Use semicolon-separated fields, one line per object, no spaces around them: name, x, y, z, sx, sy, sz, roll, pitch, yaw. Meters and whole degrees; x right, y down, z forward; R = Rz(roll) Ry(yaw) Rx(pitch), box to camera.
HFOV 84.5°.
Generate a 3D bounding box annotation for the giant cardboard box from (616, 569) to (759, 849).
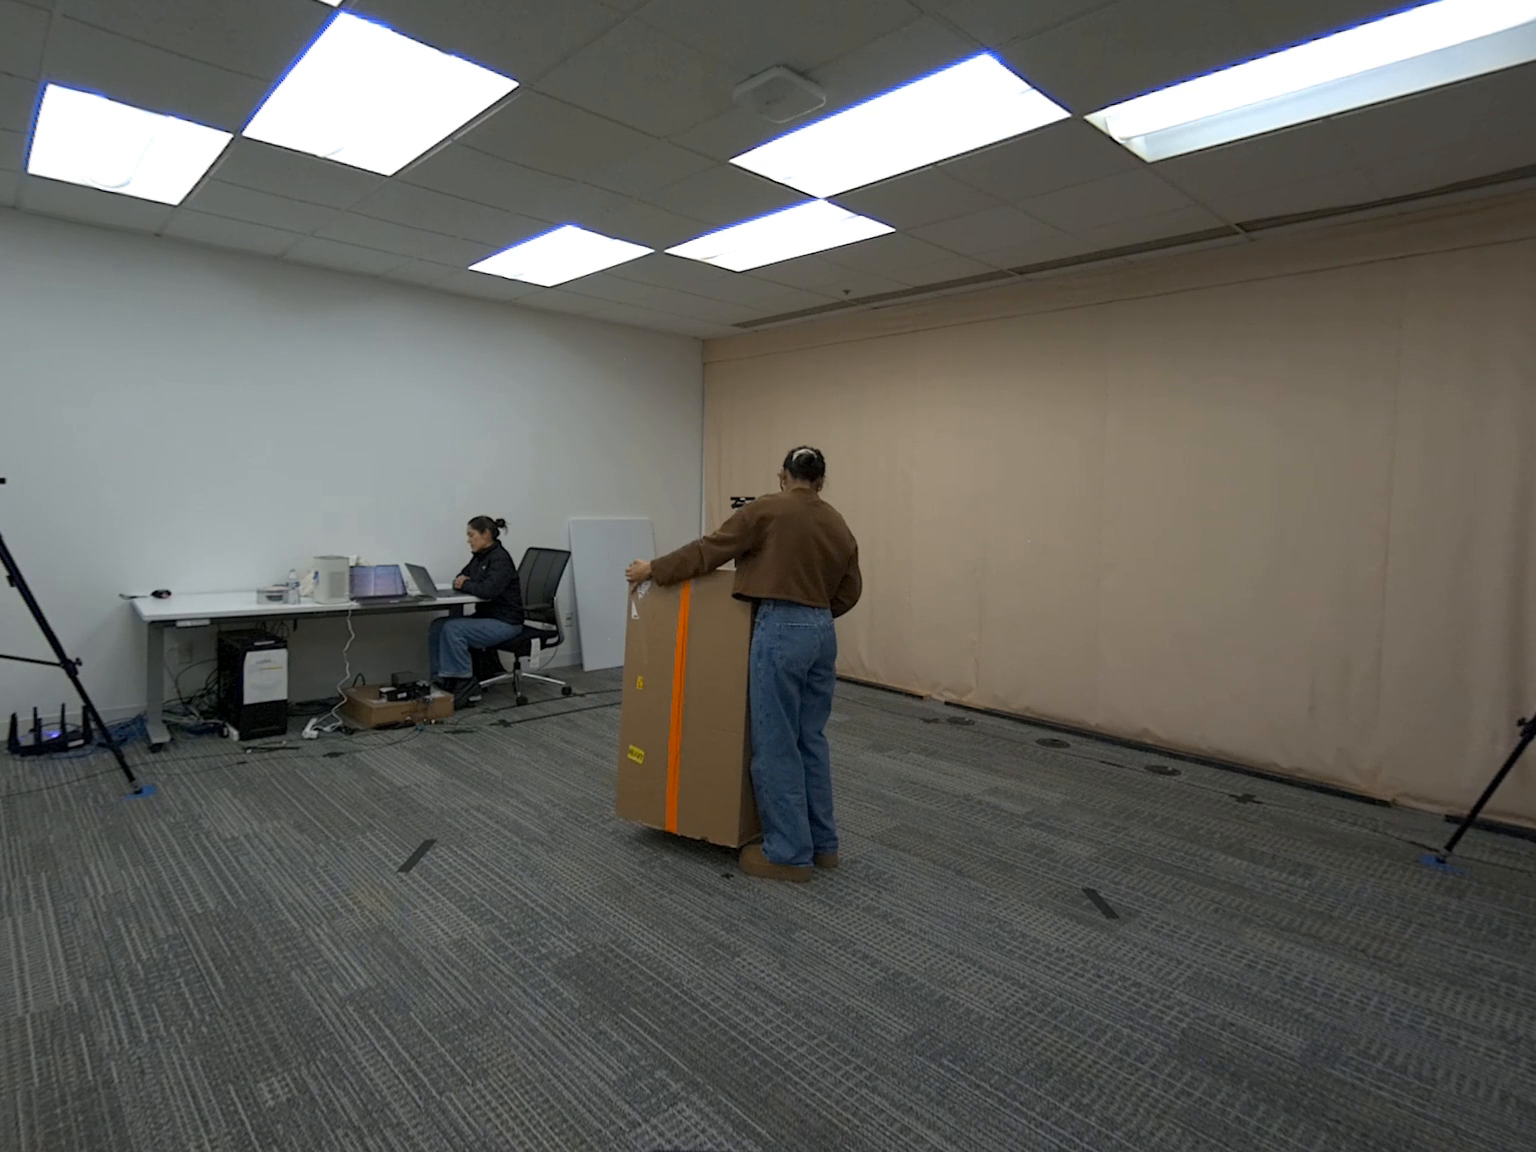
giant cardboard box;-0.245;0.486;3.429;0.590;1.026;0.417;4;0;30
